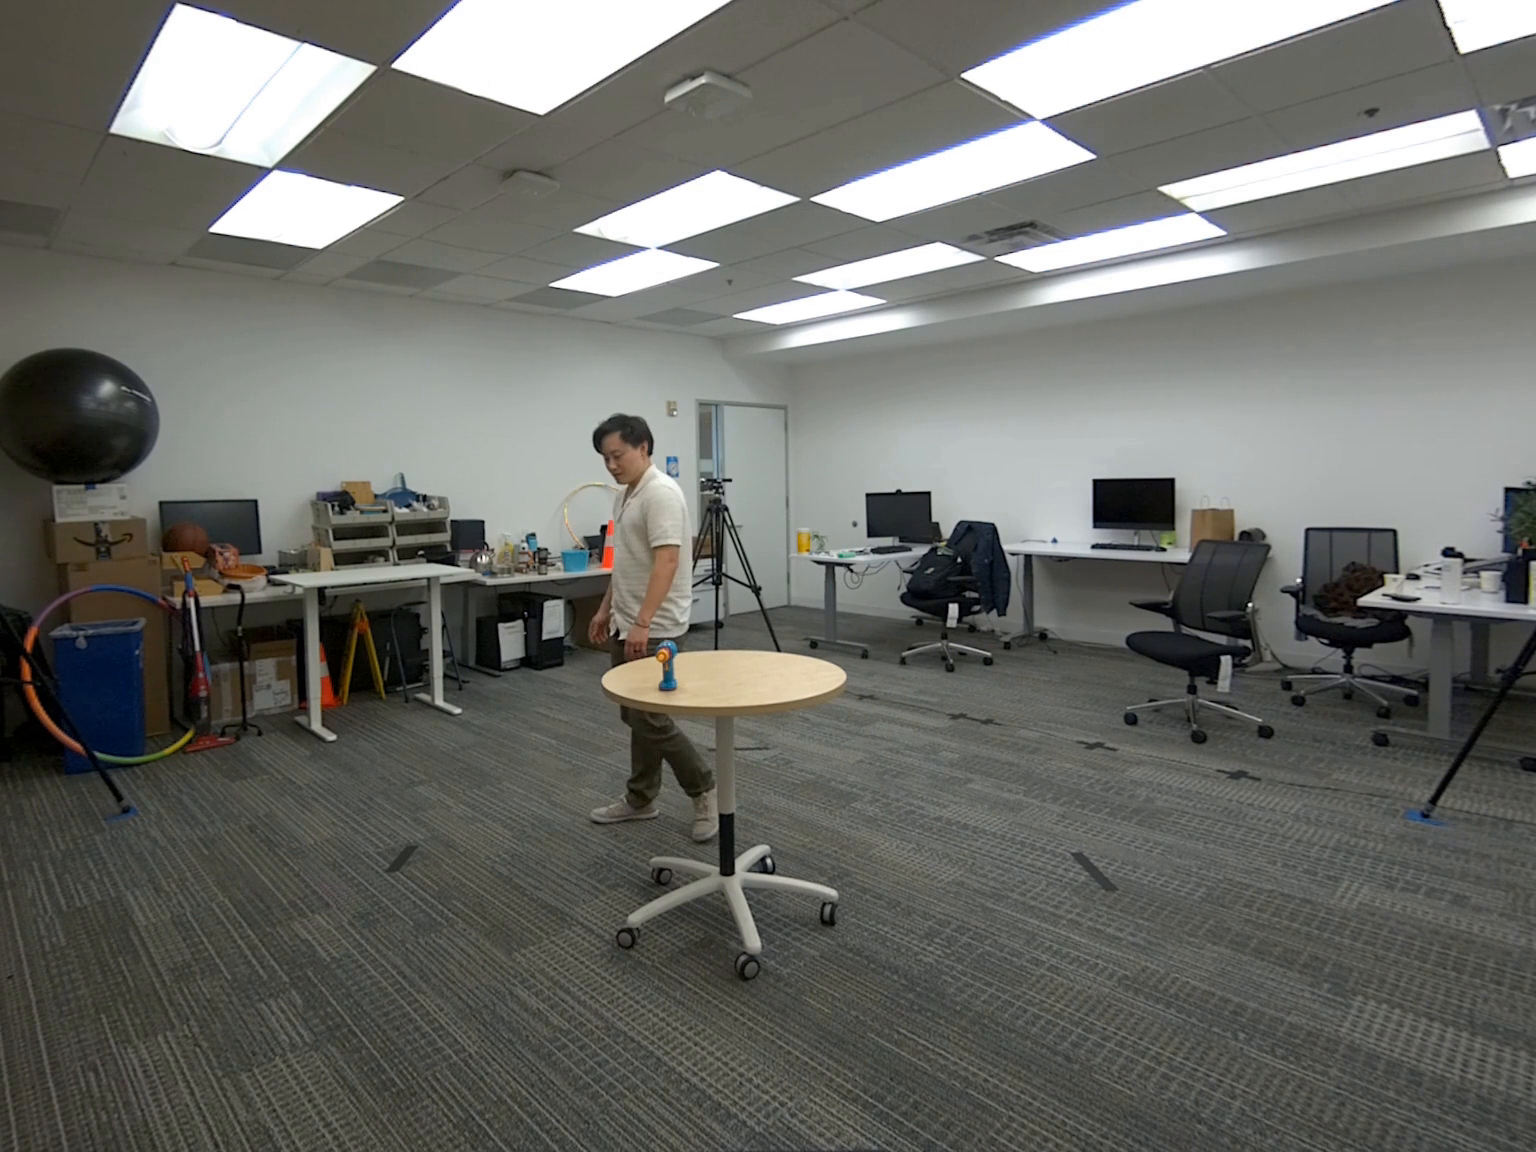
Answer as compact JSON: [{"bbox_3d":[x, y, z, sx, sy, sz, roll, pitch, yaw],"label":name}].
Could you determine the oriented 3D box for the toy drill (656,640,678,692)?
[{"bbox_3d":[-0.290,0.264,2.486,0.061,0.145,0.170,1,6,2],"label":"toy drill"}]
